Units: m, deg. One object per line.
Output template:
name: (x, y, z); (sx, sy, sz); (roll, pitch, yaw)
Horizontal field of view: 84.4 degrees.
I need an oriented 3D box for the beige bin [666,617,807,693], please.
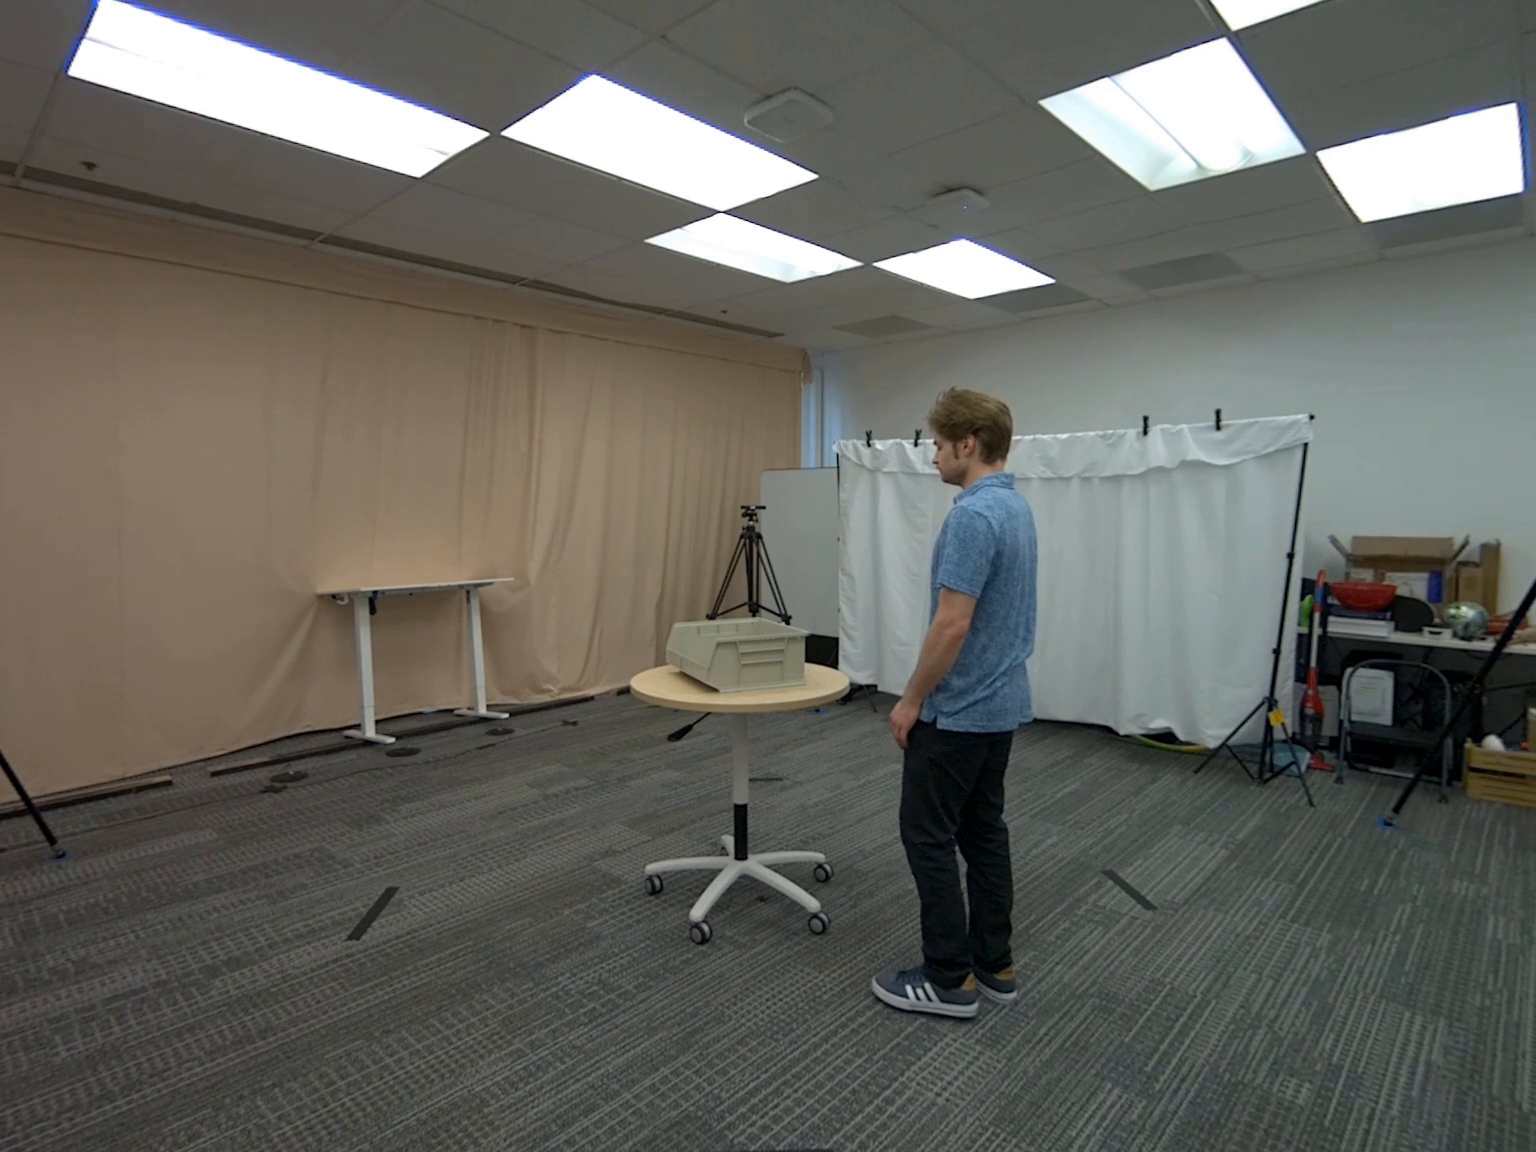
beige bin: (-0.117, 0.272, 2.969); (0.369, 0.188, 0.432); (-1, 4, -23)
